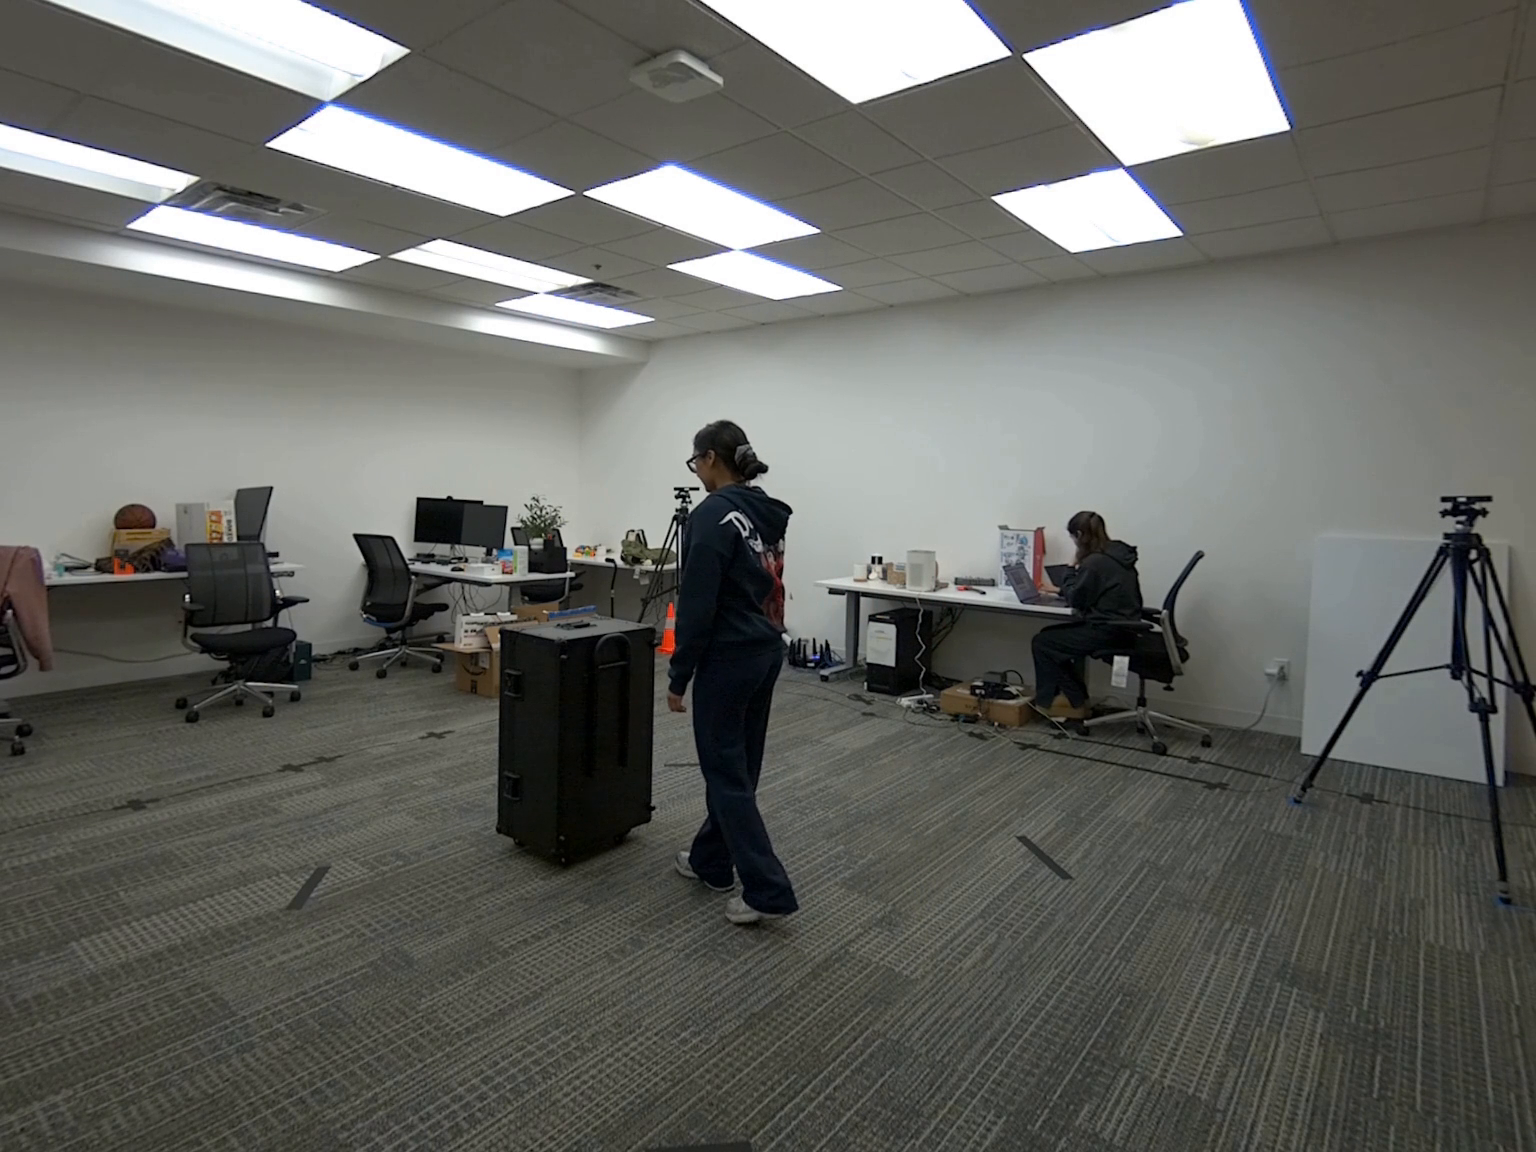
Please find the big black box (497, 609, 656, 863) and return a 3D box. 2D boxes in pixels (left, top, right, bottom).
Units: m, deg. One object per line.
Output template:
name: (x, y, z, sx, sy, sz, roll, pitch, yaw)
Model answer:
big black box: (-0.740, 0.622, 3.282, 0.410, 0.858, 0.506, 6, 5, 38)
